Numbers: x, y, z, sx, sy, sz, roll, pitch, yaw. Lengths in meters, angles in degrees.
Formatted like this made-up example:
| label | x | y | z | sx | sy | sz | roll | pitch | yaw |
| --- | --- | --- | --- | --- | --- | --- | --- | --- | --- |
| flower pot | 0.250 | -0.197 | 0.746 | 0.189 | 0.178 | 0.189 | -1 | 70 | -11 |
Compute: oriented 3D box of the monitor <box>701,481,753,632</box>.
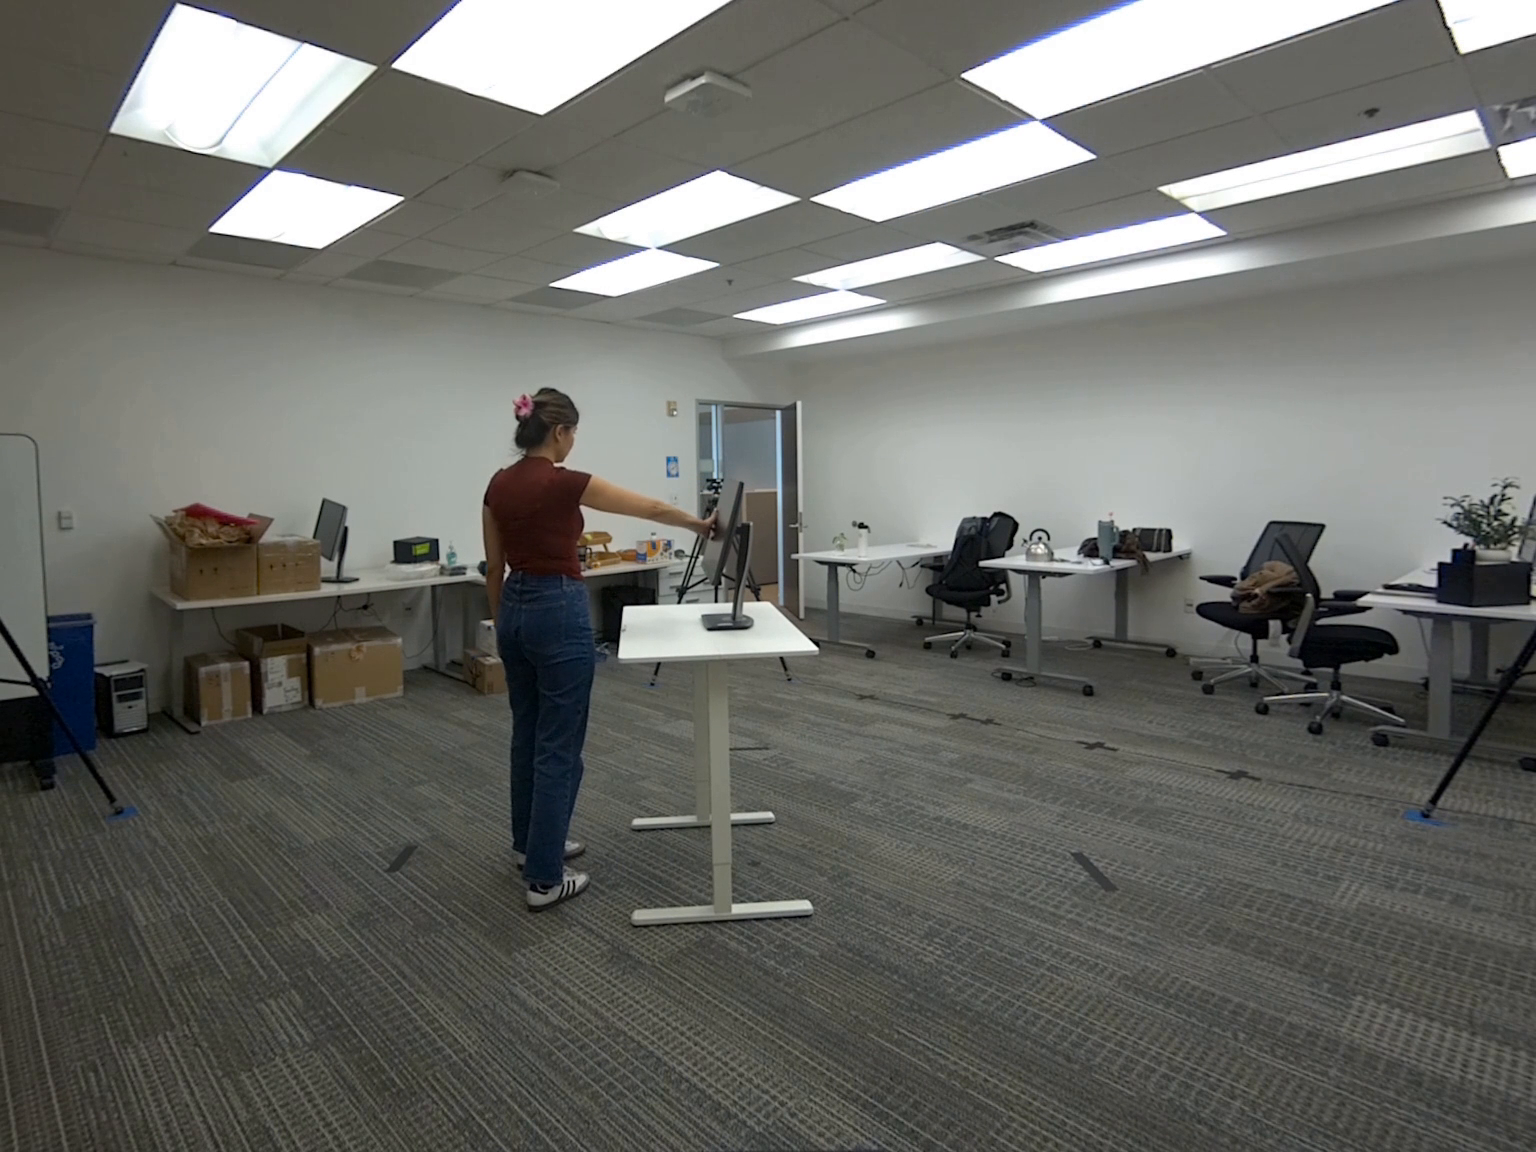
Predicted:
| label | x | y | z | sx | sy | sz | roll | pitch | yaw |
| --- | --- | --- | --- | --- | --- | --- | --- | --- | --- |
| monitor | -0.136 | -0.083 | 3.046 | 0.185 | 0.520 | 0.546 | 0 | 5 | -10 |
